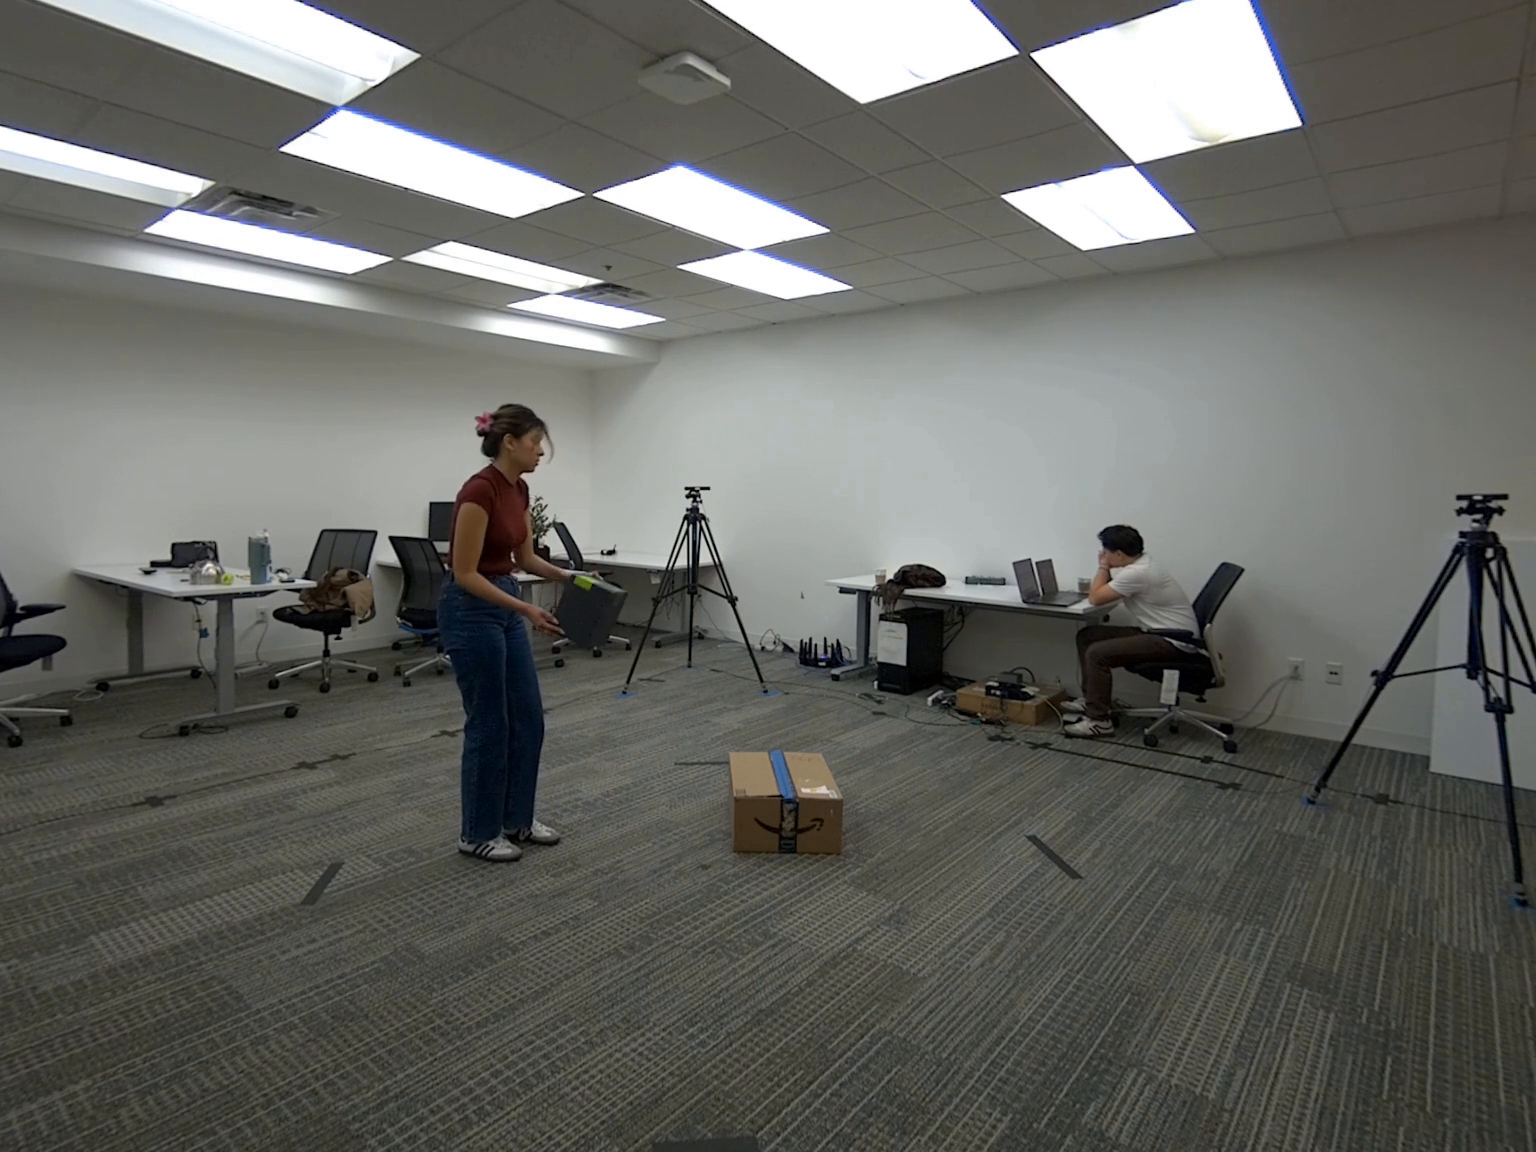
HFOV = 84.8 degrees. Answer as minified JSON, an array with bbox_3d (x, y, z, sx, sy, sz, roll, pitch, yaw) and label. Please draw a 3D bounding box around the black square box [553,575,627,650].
[{"bbox_3d":[-0.658,0.129,3.051,0.158,0.217,0.224,23,-1,10],"label":"black square box"}]
